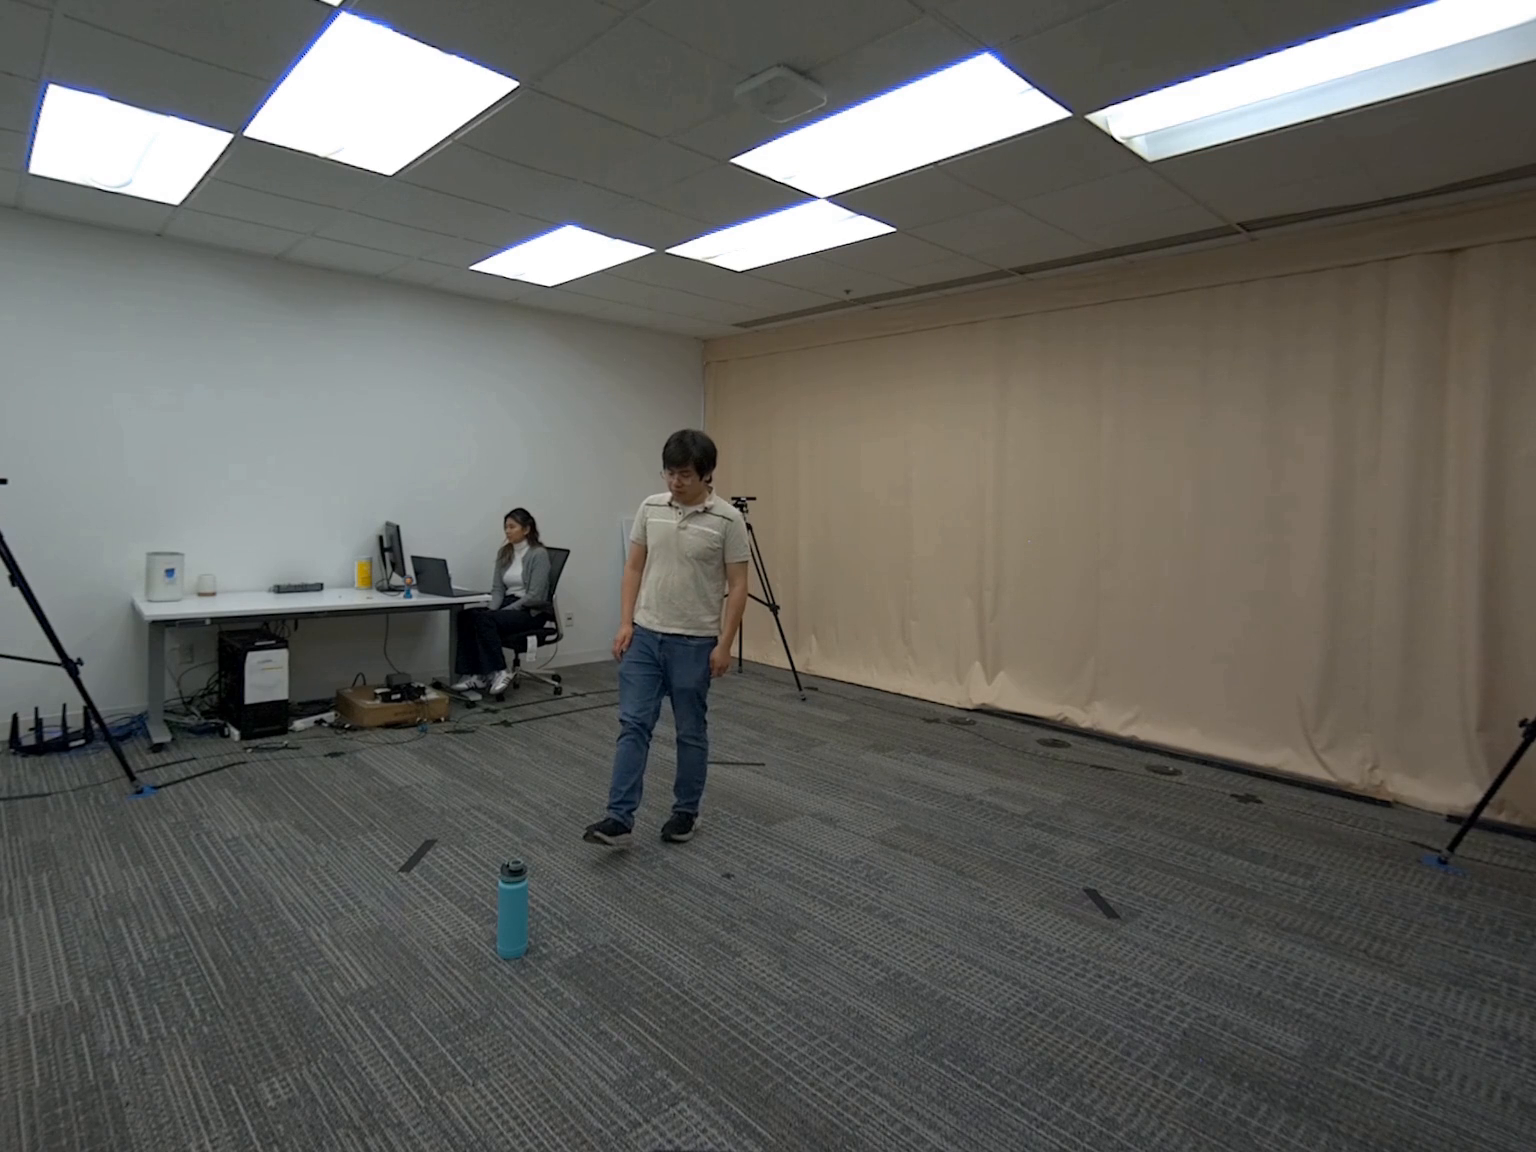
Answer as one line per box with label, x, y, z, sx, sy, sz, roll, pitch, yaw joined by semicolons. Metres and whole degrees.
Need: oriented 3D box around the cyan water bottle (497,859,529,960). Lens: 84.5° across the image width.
cyan water bottle;-0.787;1.005;2.549;0.092;0.282;0.093;2;4;-2
